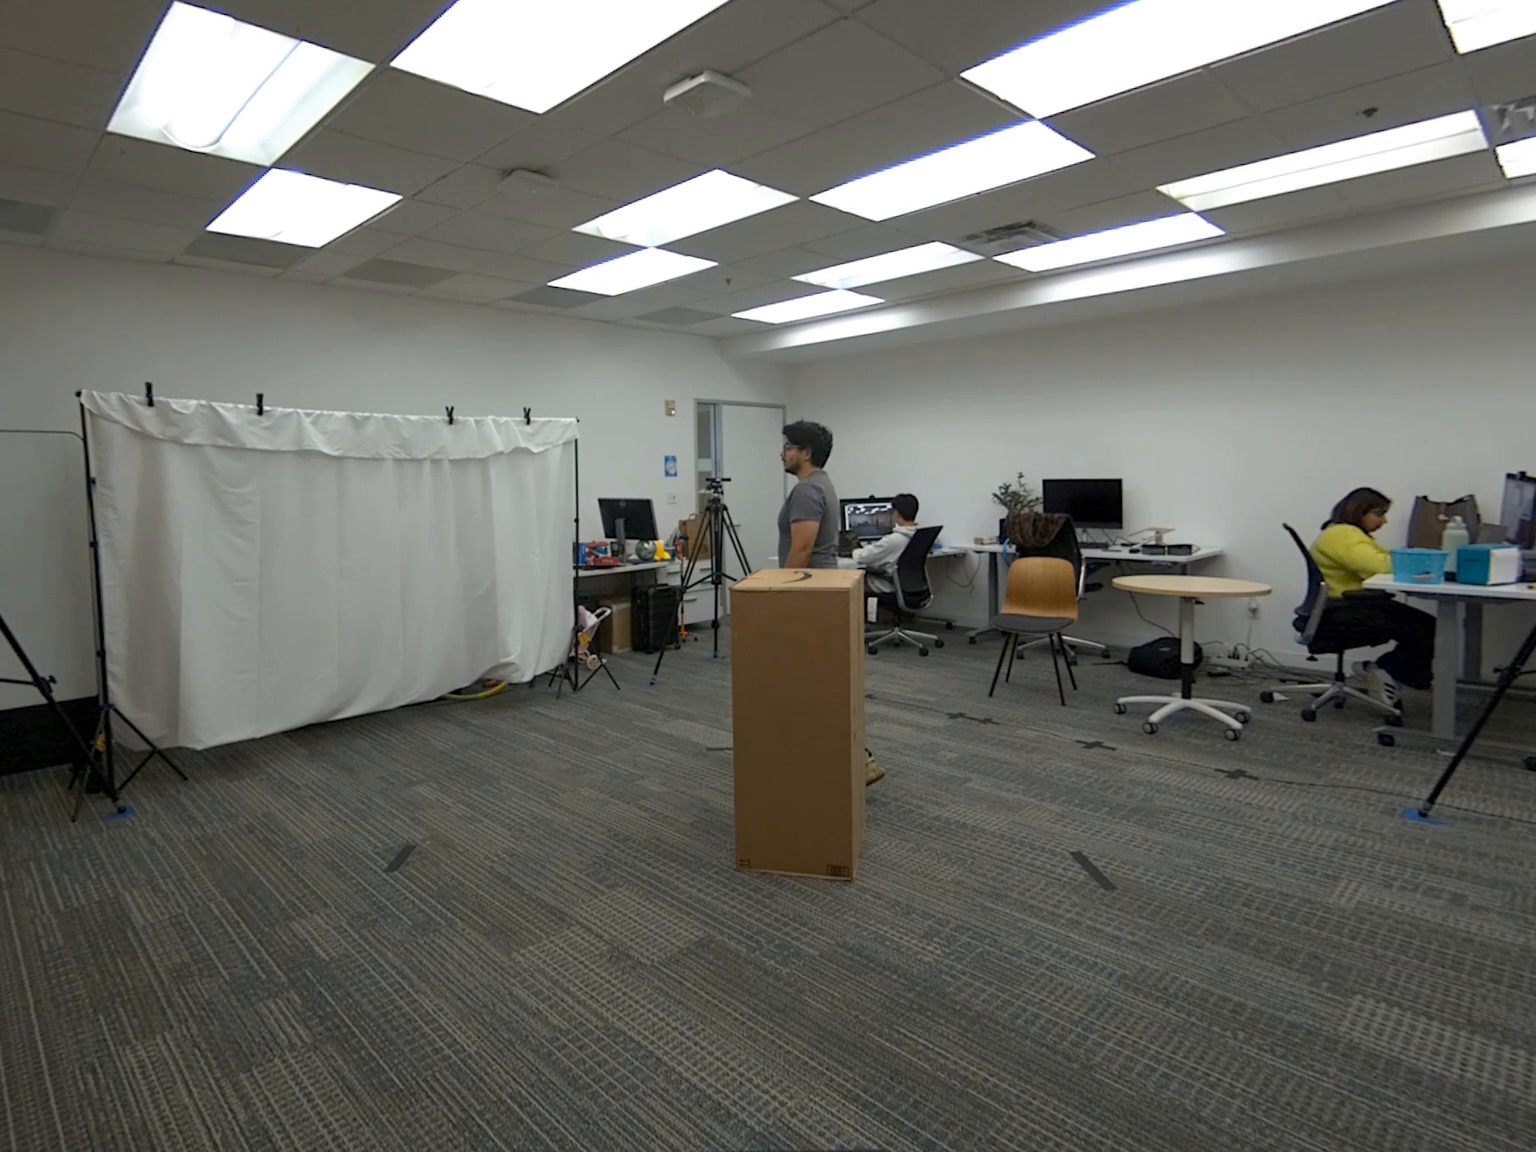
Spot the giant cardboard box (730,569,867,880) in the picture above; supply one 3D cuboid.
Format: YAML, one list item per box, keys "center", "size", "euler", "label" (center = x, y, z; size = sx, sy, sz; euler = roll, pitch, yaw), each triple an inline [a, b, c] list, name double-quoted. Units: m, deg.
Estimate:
- center: [0.124, 0.513, 3.237]
  size: [0.432, 1.022, 0.572]
  euler: [0, 5, 12]
  label: "giant cardboard box"
